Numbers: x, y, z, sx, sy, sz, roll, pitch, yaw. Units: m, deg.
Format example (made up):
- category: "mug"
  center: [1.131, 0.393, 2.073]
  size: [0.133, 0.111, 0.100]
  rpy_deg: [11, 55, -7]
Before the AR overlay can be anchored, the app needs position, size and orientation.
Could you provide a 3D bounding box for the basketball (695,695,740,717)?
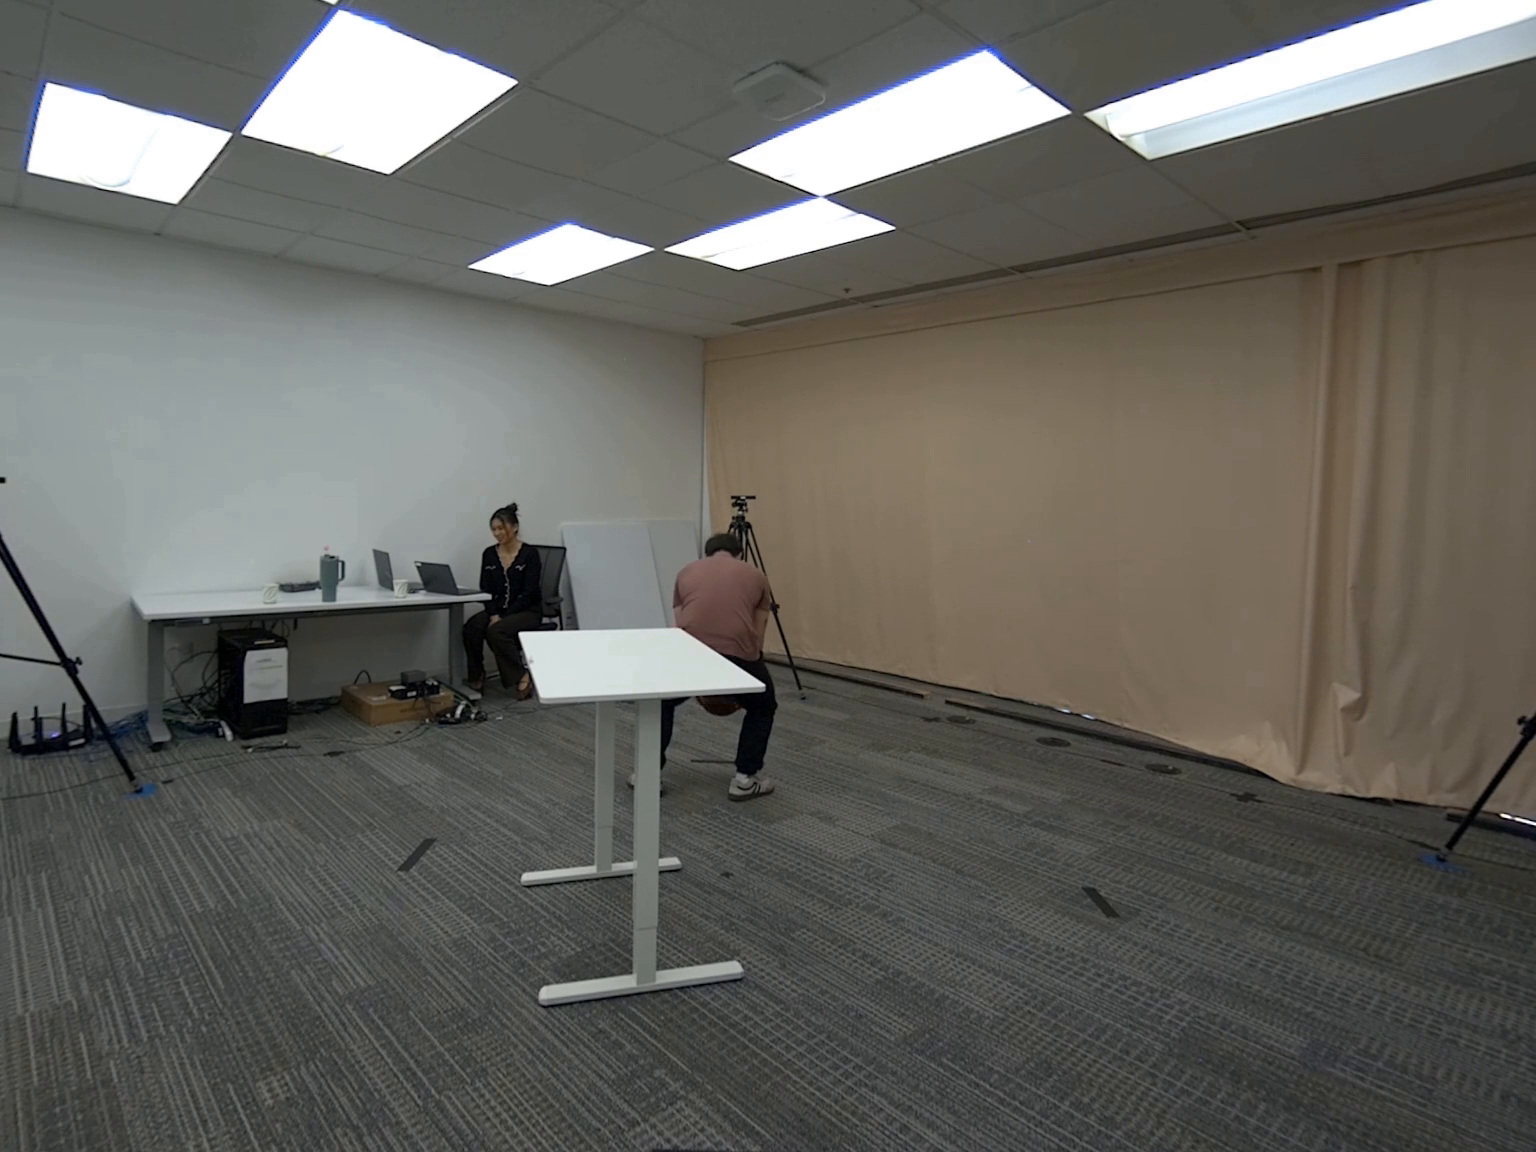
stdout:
- category: "basketball"
  center: [-0.240, 0.580, 4.242]
  size: [0.236, 0.235, 0.237]
  rpy_deg: [1, 4, -1]
